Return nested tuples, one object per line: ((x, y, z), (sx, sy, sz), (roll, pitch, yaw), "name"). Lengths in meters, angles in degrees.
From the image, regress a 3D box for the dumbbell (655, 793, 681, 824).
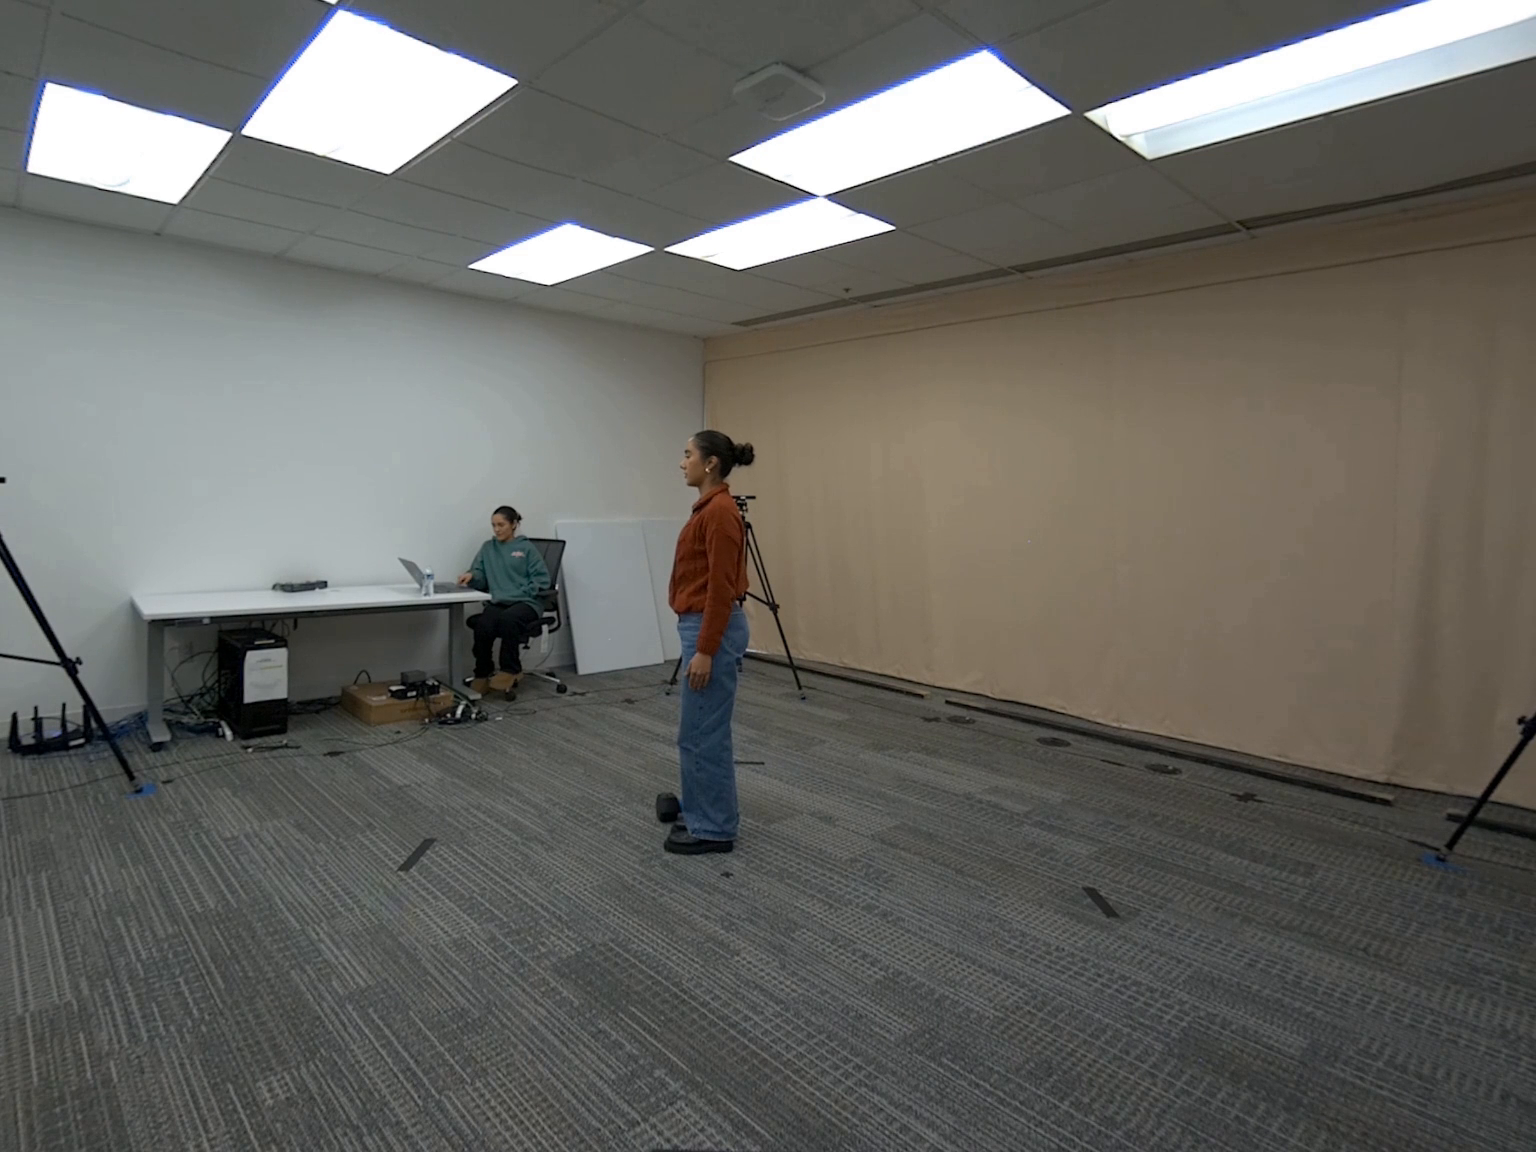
((-0.345, 1.000, 3.663), (0.289, 0.121, 0.112), (-1, 35, -18), "dumbbell")
